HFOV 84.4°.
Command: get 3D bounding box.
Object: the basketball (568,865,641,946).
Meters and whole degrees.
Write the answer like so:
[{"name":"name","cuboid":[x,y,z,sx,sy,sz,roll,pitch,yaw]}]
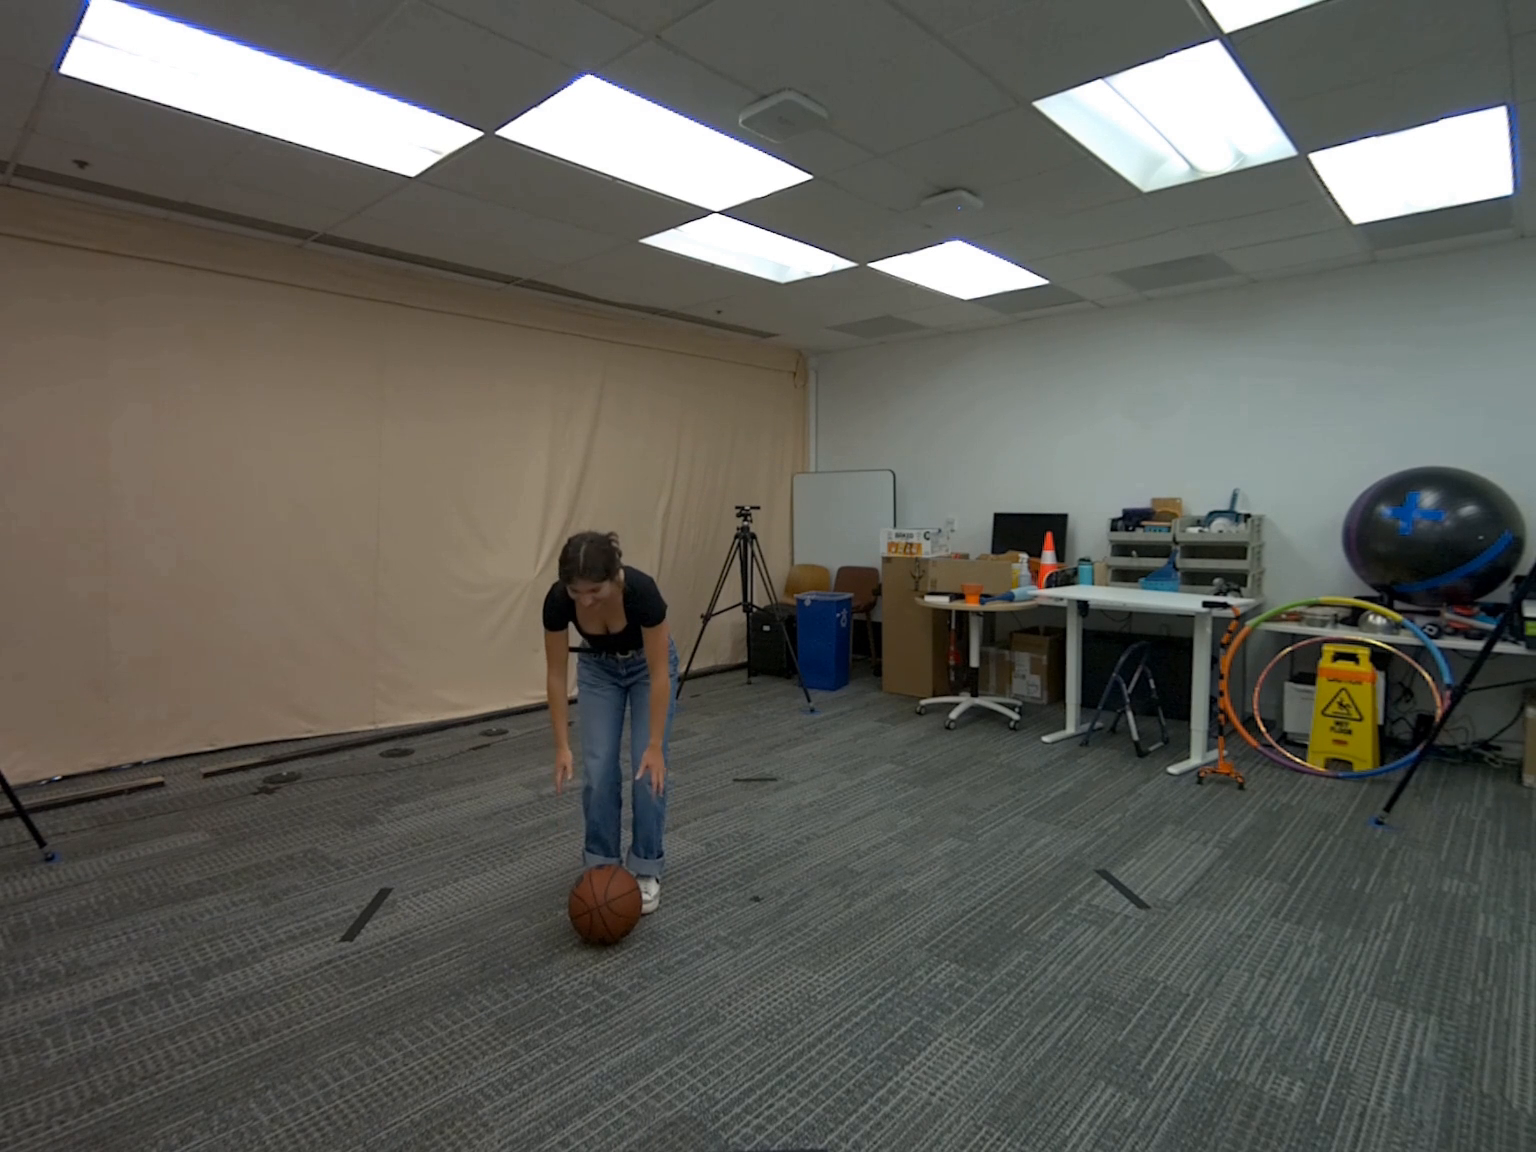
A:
[{"name":"basketball","cuboid":[-0.522,1.044,2.708,0.236,0.235,0.237,0,4,-2]}]
